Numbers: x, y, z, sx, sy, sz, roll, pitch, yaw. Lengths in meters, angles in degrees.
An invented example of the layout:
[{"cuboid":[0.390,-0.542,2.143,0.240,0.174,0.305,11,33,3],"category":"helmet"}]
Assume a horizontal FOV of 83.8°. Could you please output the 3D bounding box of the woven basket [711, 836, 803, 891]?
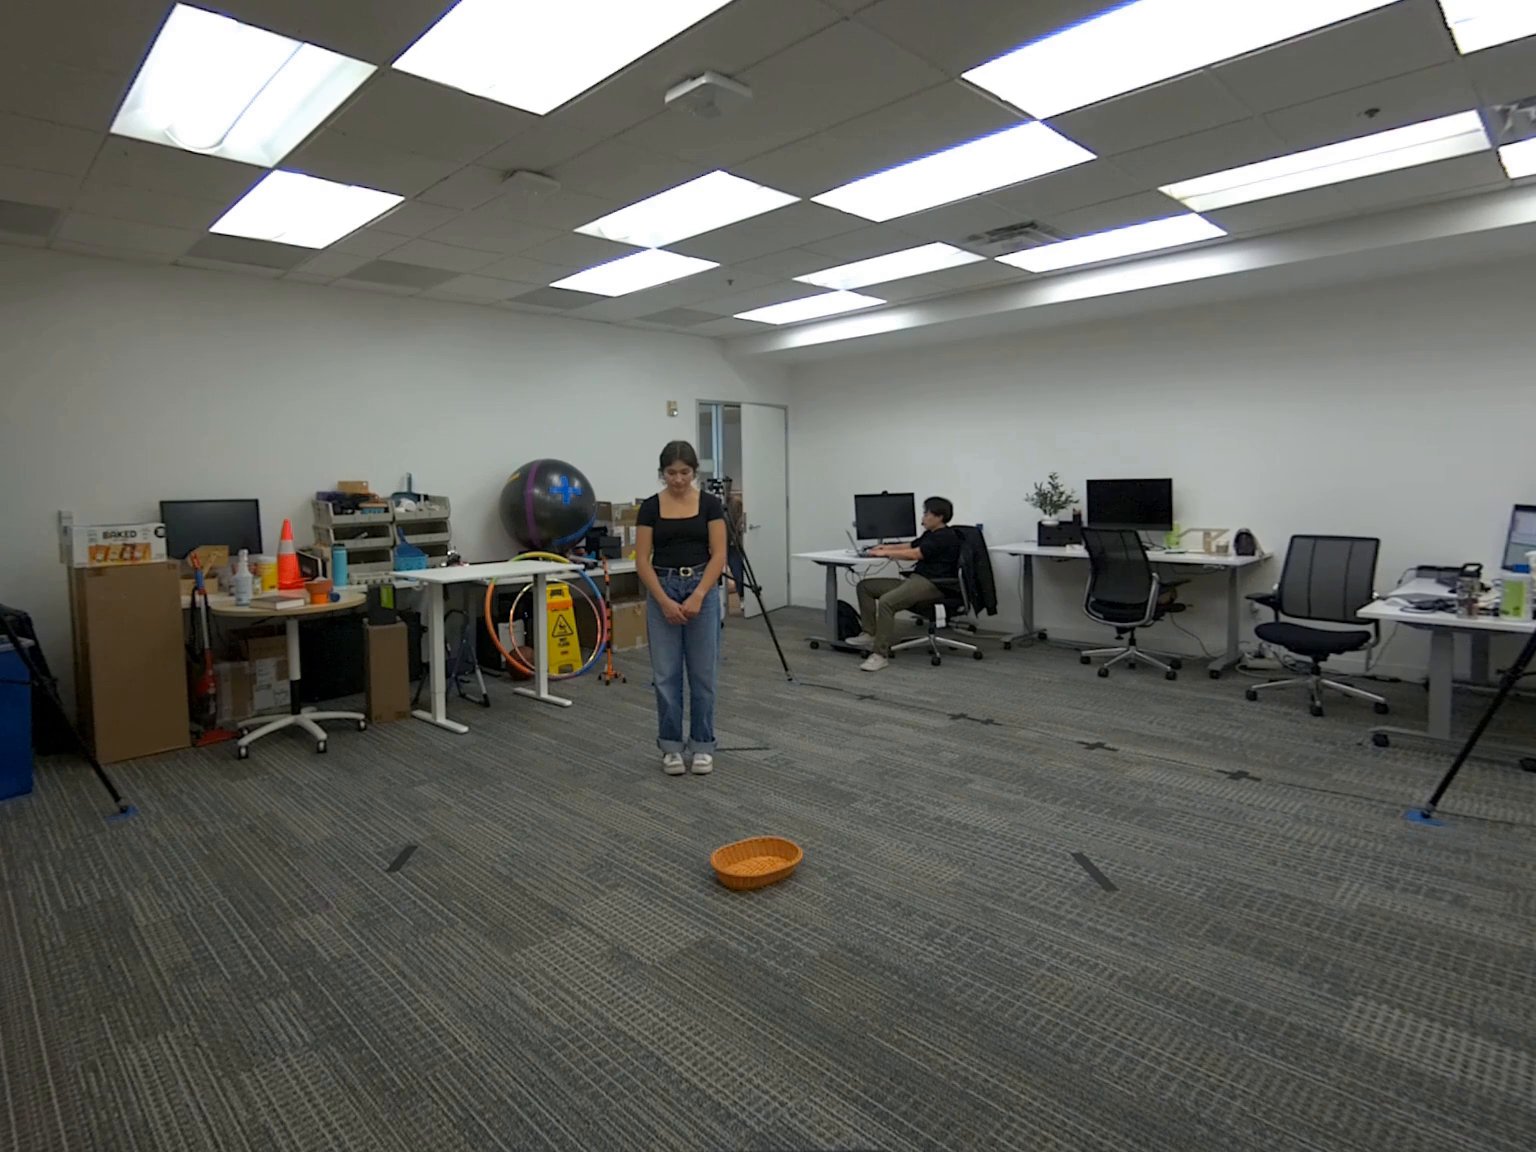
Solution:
[{"cuboid":[-0.040,1.017,3.017,0.342,0.073,0.260,-4,9,-33],"category":"woven basket"}]
